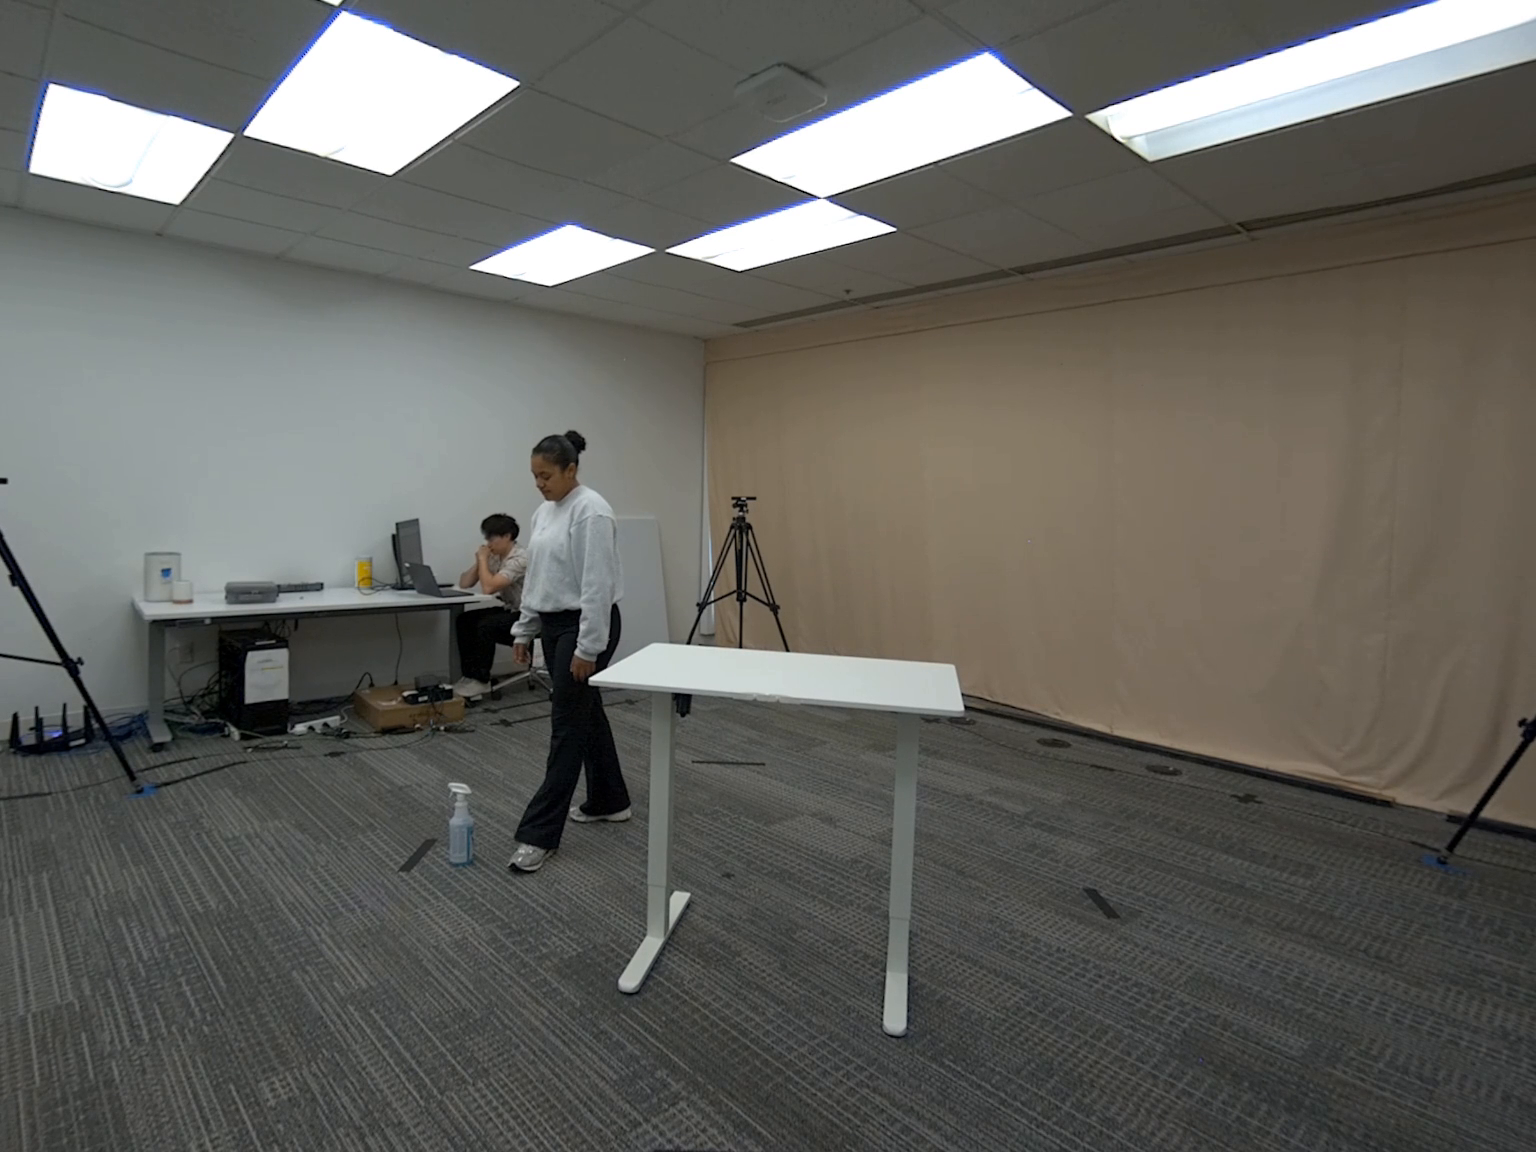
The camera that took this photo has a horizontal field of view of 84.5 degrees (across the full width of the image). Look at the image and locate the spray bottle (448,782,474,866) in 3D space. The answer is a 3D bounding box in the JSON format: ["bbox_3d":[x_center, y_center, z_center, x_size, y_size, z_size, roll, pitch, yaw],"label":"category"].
[{"bbox_3d":[-1.160,0.934,3.165,0.092,0.296,0.085,1,4,34],"label":"spray bottle"}]
